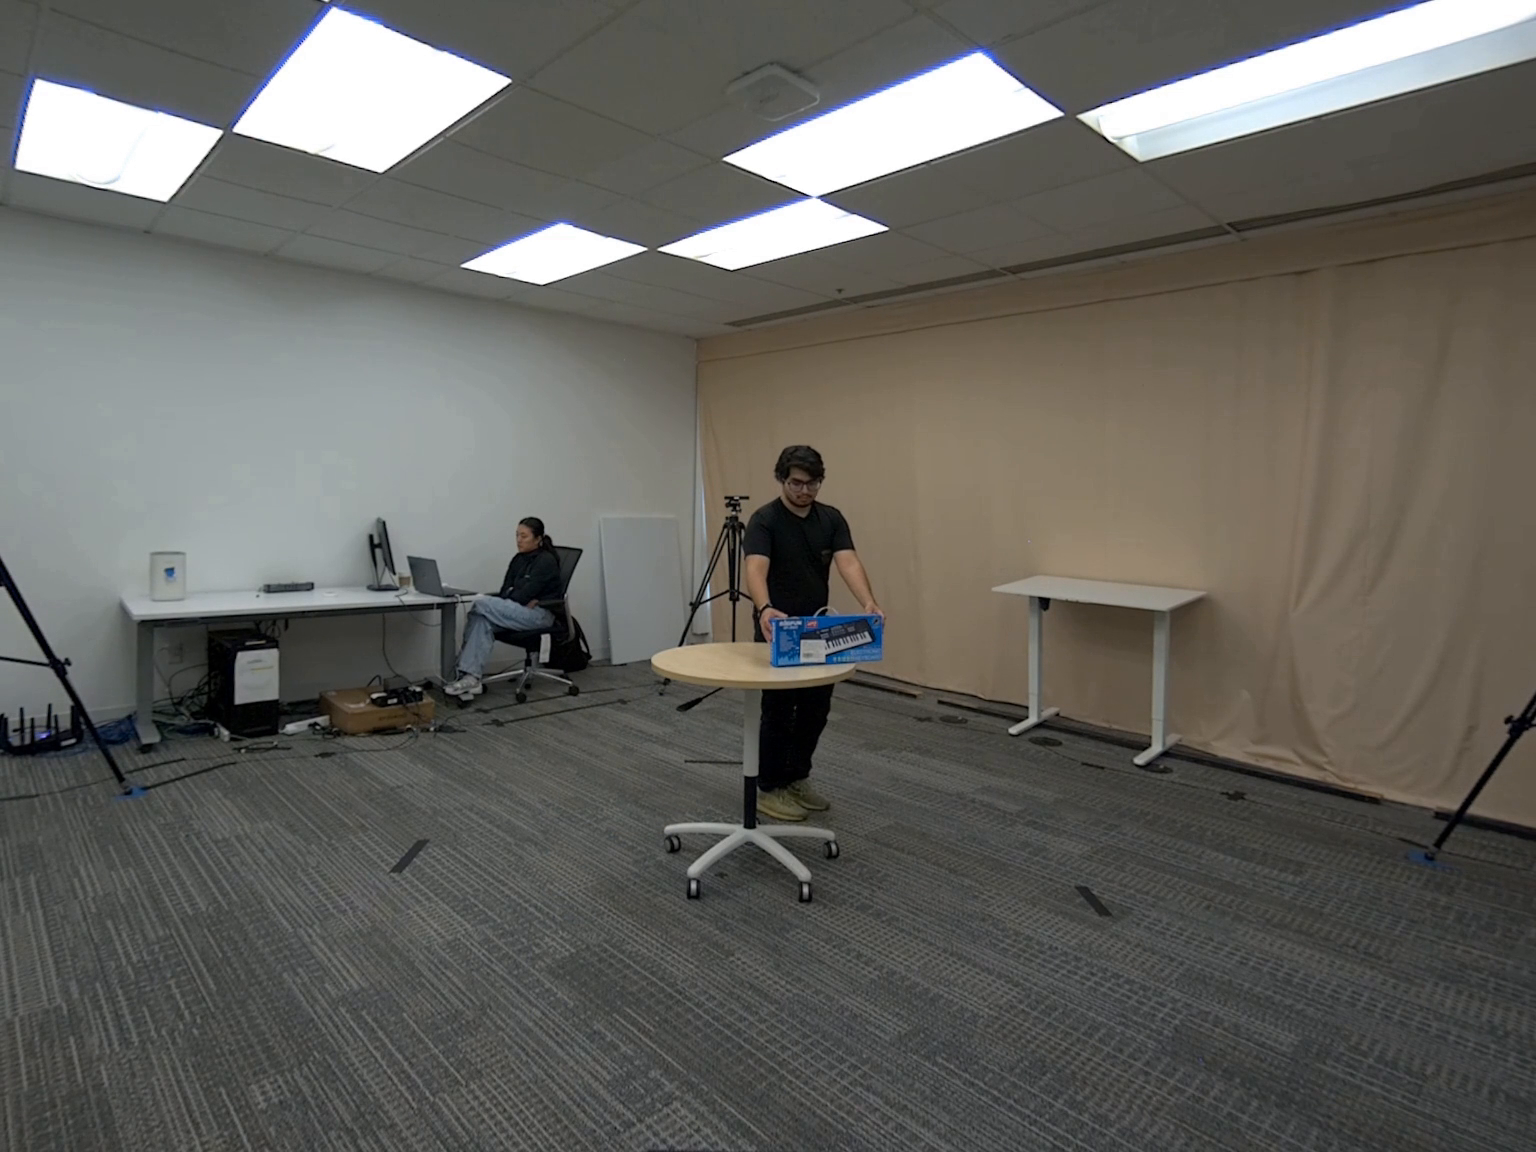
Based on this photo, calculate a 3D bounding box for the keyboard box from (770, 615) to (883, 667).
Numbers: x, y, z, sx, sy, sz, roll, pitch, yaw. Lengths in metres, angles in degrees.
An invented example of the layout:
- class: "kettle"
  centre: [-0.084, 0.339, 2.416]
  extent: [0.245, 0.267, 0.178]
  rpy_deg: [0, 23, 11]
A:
- class: "keyboard box"
  centre: [0.210, 0.239, 3.119]
  extent: [0.430, 0.176, 0.060]
  rpy_deg: [-2, 1, -21]
